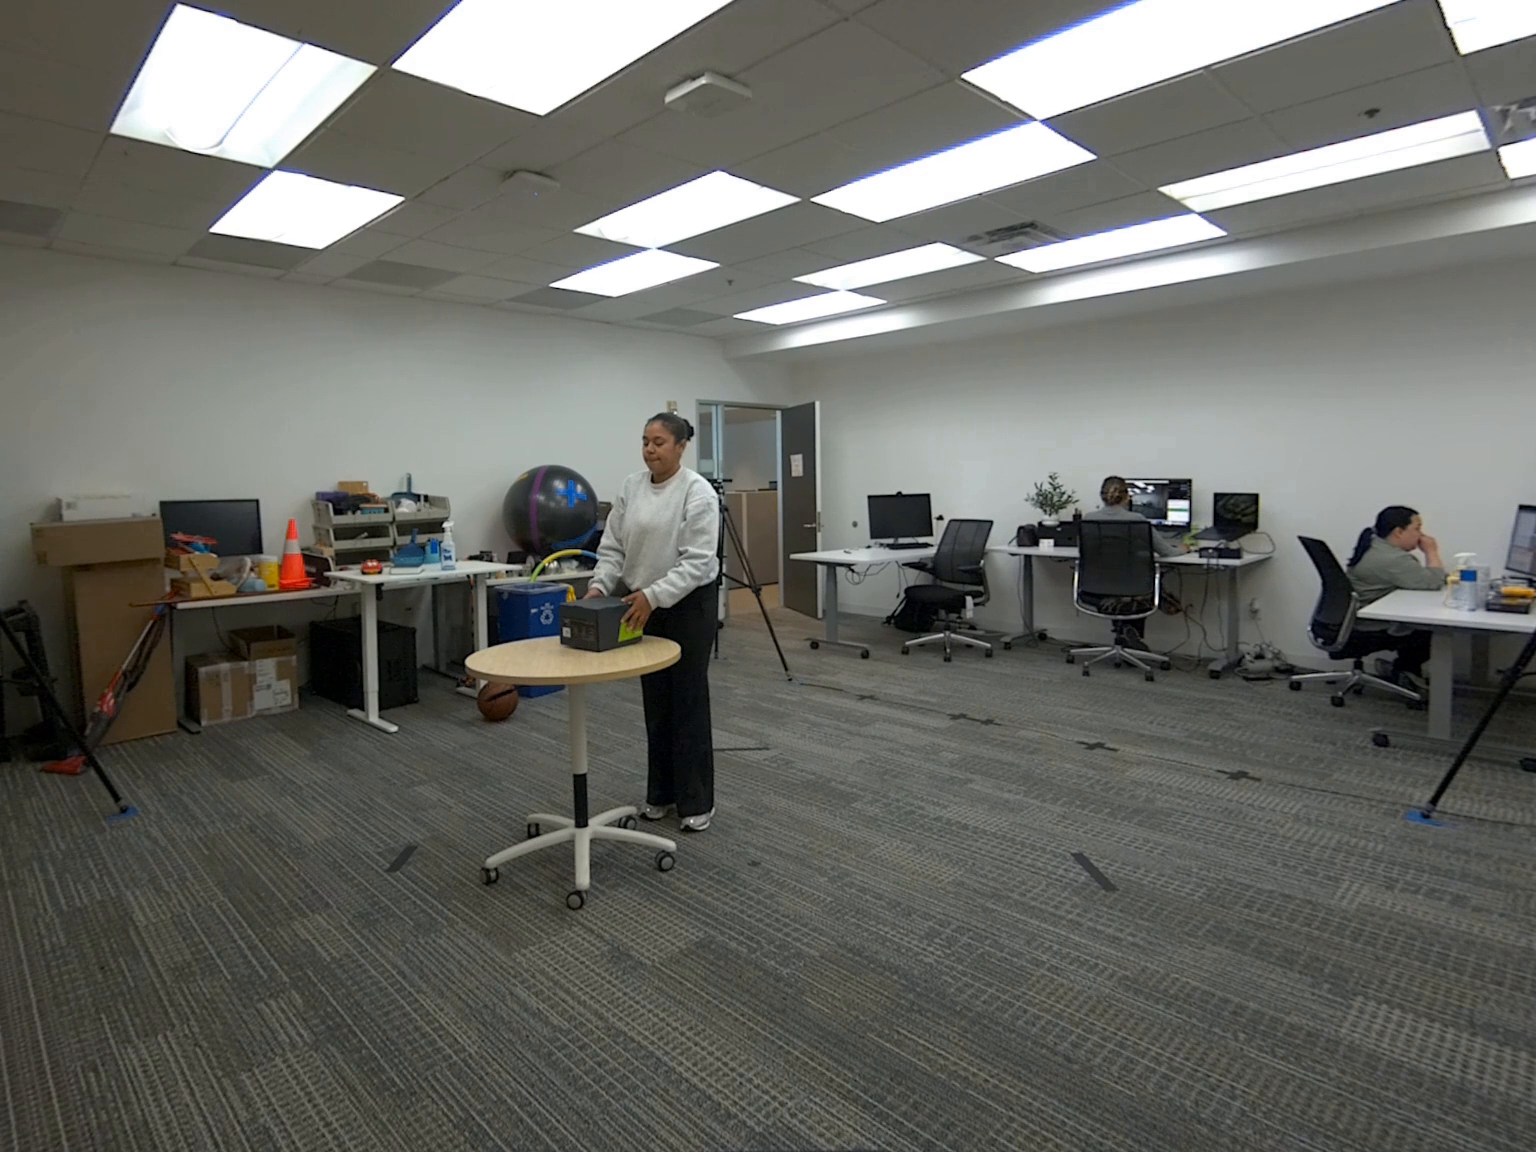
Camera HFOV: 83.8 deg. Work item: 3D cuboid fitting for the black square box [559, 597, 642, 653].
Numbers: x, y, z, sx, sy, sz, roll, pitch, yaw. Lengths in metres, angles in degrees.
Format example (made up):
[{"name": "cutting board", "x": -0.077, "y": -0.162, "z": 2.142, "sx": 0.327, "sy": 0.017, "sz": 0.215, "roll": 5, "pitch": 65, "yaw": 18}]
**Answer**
[{"name": "black square box", "x": -0.634, "y": 0.173, "z": 3.216, "sx": 0.223, "sy": 0.155, "sz": 0.222, "roll": 4, "pitch": 8, "yaw": 37}]
